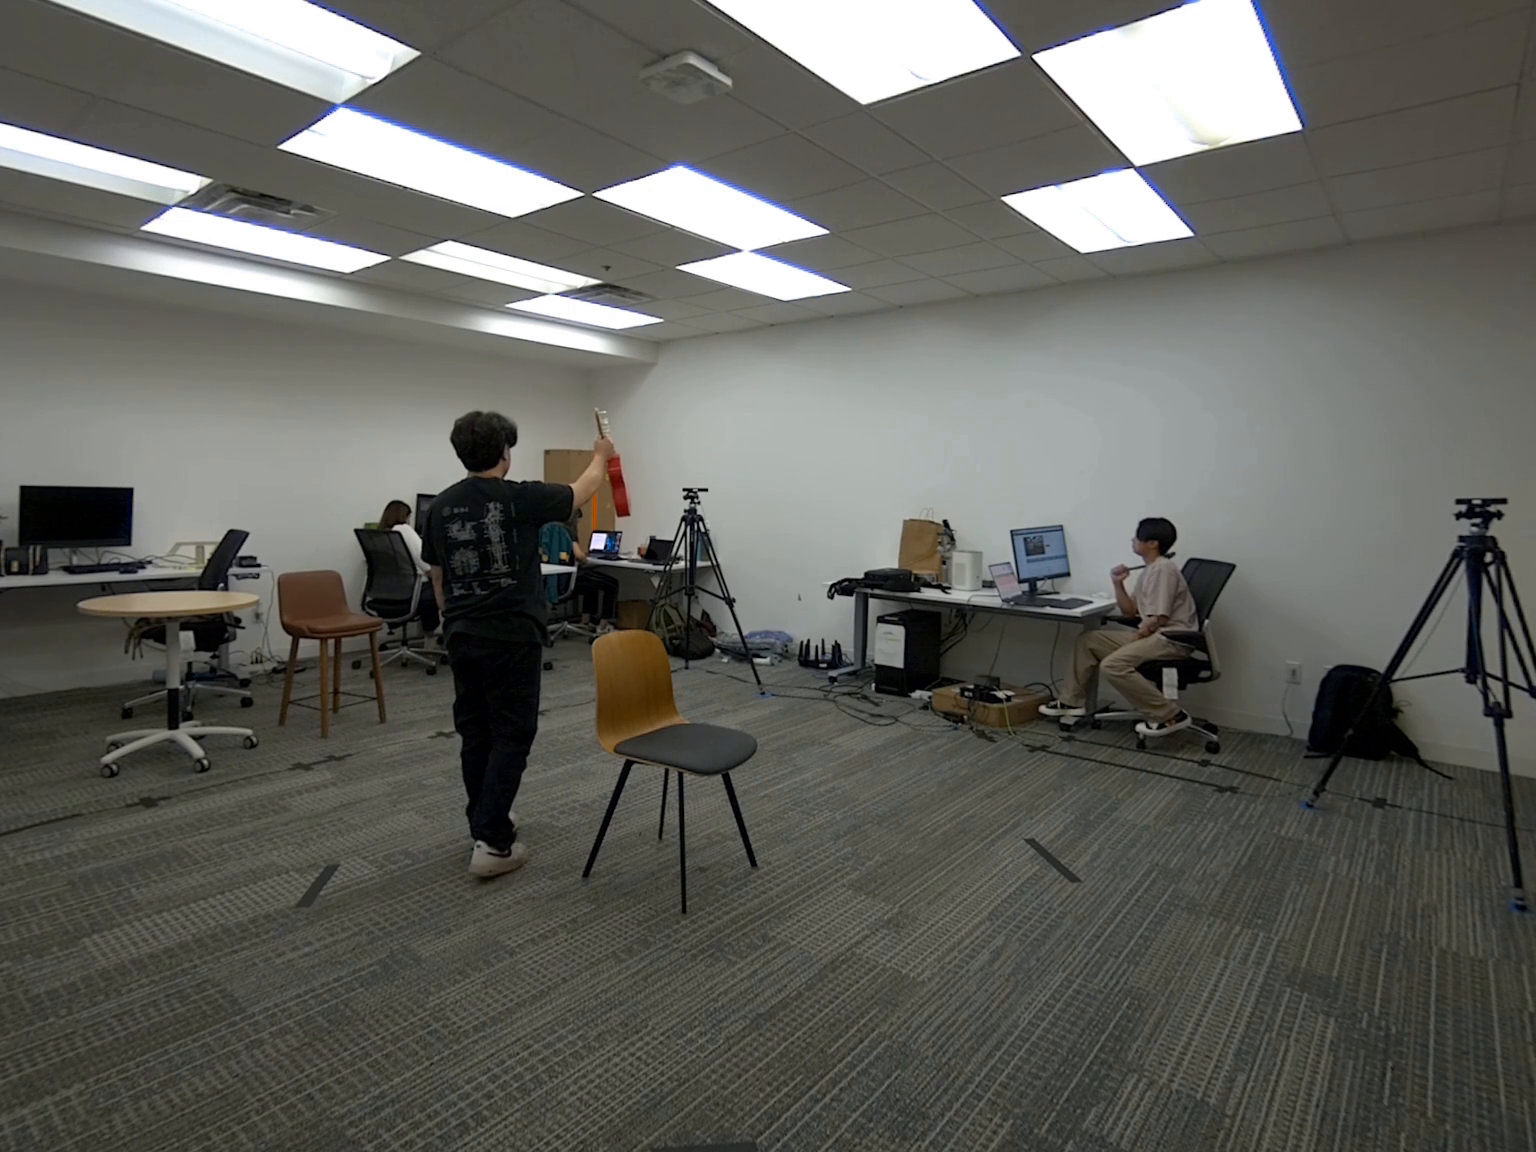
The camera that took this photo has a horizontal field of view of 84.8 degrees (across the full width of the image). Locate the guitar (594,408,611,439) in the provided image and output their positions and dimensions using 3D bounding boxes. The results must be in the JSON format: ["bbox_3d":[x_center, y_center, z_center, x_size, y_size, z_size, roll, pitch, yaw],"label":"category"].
[{"bbox_3d":[-0.666,-0.470,3.615,0.071,0.482,0.199,-8,42,-2],"label":"guitar"}]
